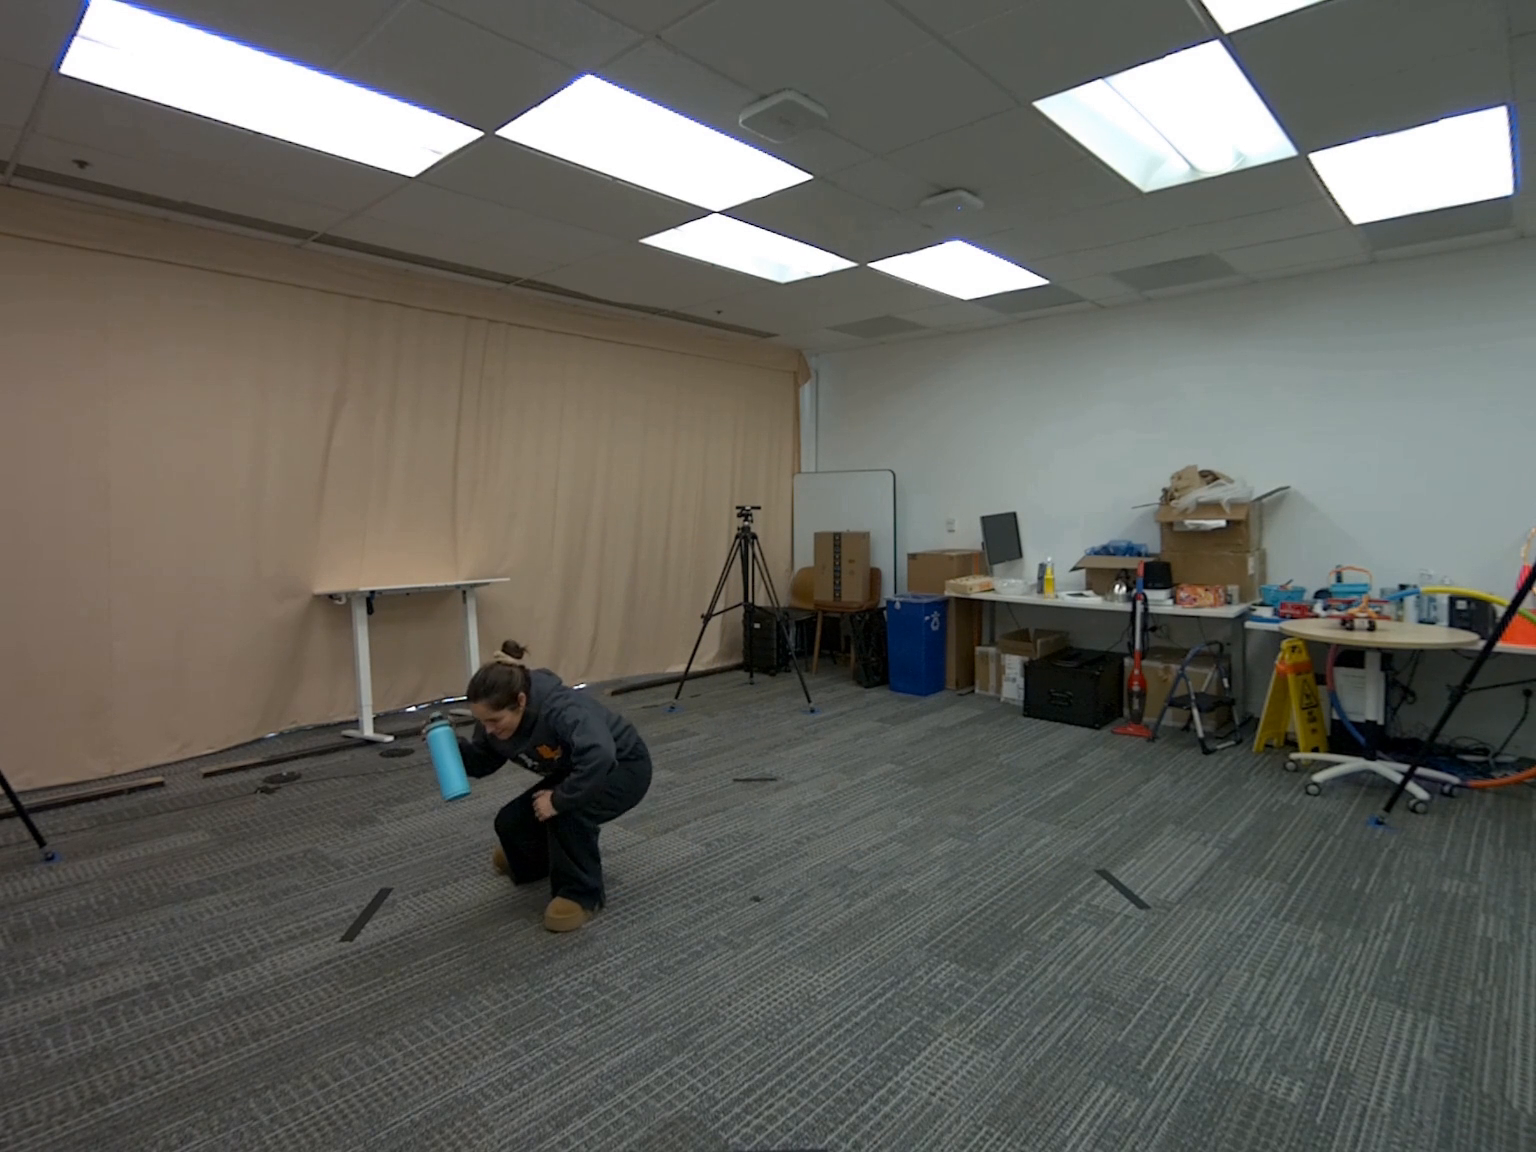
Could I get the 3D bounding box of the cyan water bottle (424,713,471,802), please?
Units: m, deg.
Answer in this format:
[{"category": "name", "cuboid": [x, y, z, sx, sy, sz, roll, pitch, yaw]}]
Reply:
[{"category": "cyan water bottle", "cuboid": [-1.032, 0.591, 2.719, 0.092, 0.289, 0.091, -19, -20, -9]}]
